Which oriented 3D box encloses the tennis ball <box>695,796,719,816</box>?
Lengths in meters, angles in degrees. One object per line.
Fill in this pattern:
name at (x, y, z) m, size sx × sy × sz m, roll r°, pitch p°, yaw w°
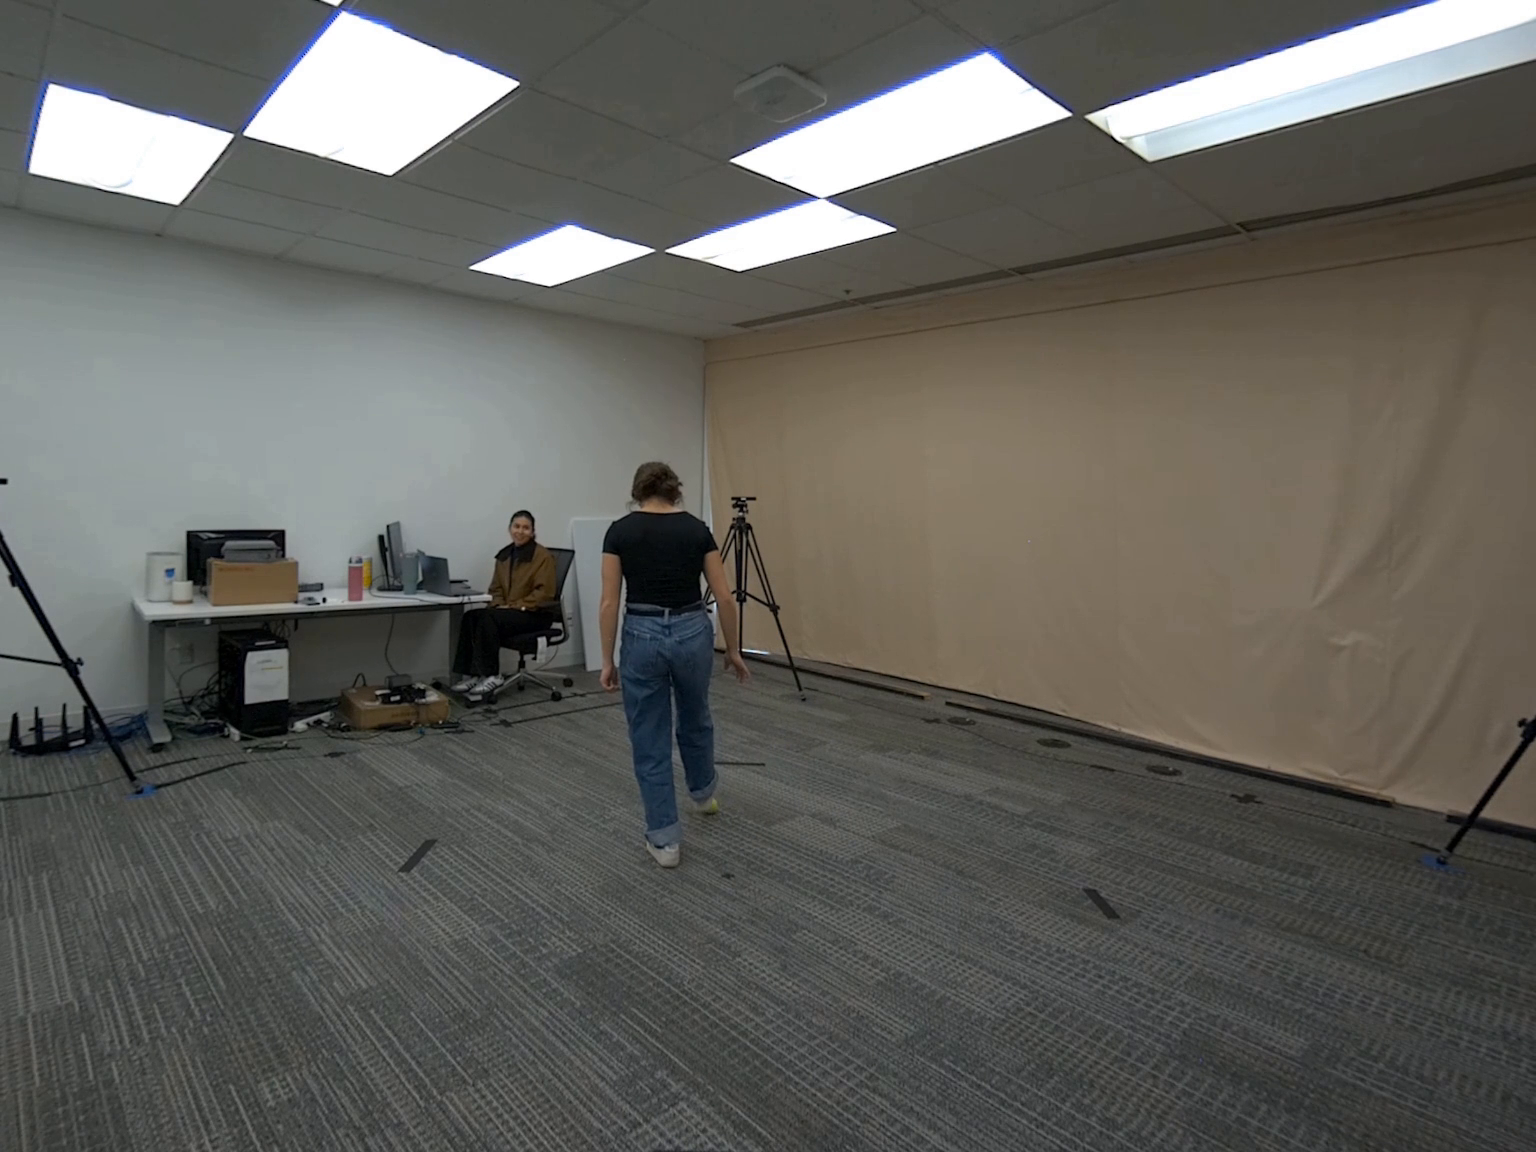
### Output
tennis ball at (-0.260, 1.010, 3.724) m, size 0.066 × 0.066 × 0.067 m, roll 1°, pitch 4°, yaw -1°
